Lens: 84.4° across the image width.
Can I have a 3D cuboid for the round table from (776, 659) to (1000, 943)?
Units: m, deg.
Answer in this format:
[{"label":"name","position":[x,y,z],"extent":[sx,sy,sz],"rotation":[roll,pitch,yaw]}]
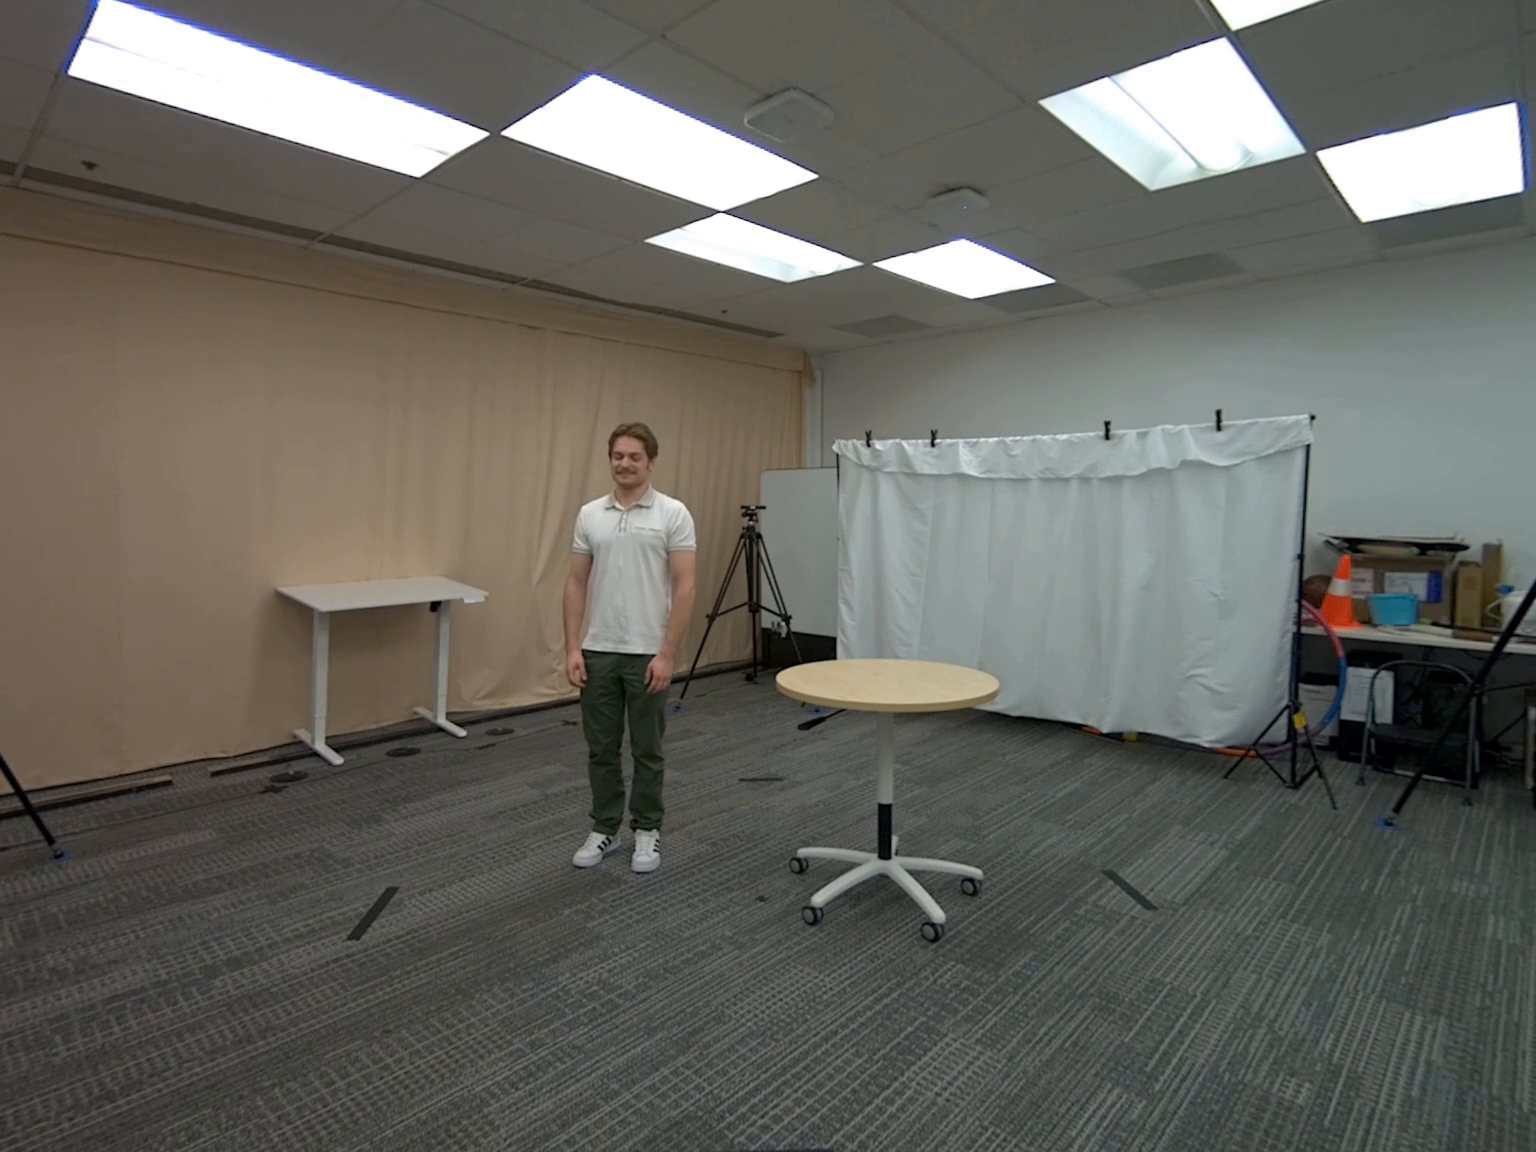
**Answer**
[{"label":"round table","position":[0.411,0.754,2.978],"extent":[0.763,0.792,0.767],"rotation":[0,4,-2]}]
